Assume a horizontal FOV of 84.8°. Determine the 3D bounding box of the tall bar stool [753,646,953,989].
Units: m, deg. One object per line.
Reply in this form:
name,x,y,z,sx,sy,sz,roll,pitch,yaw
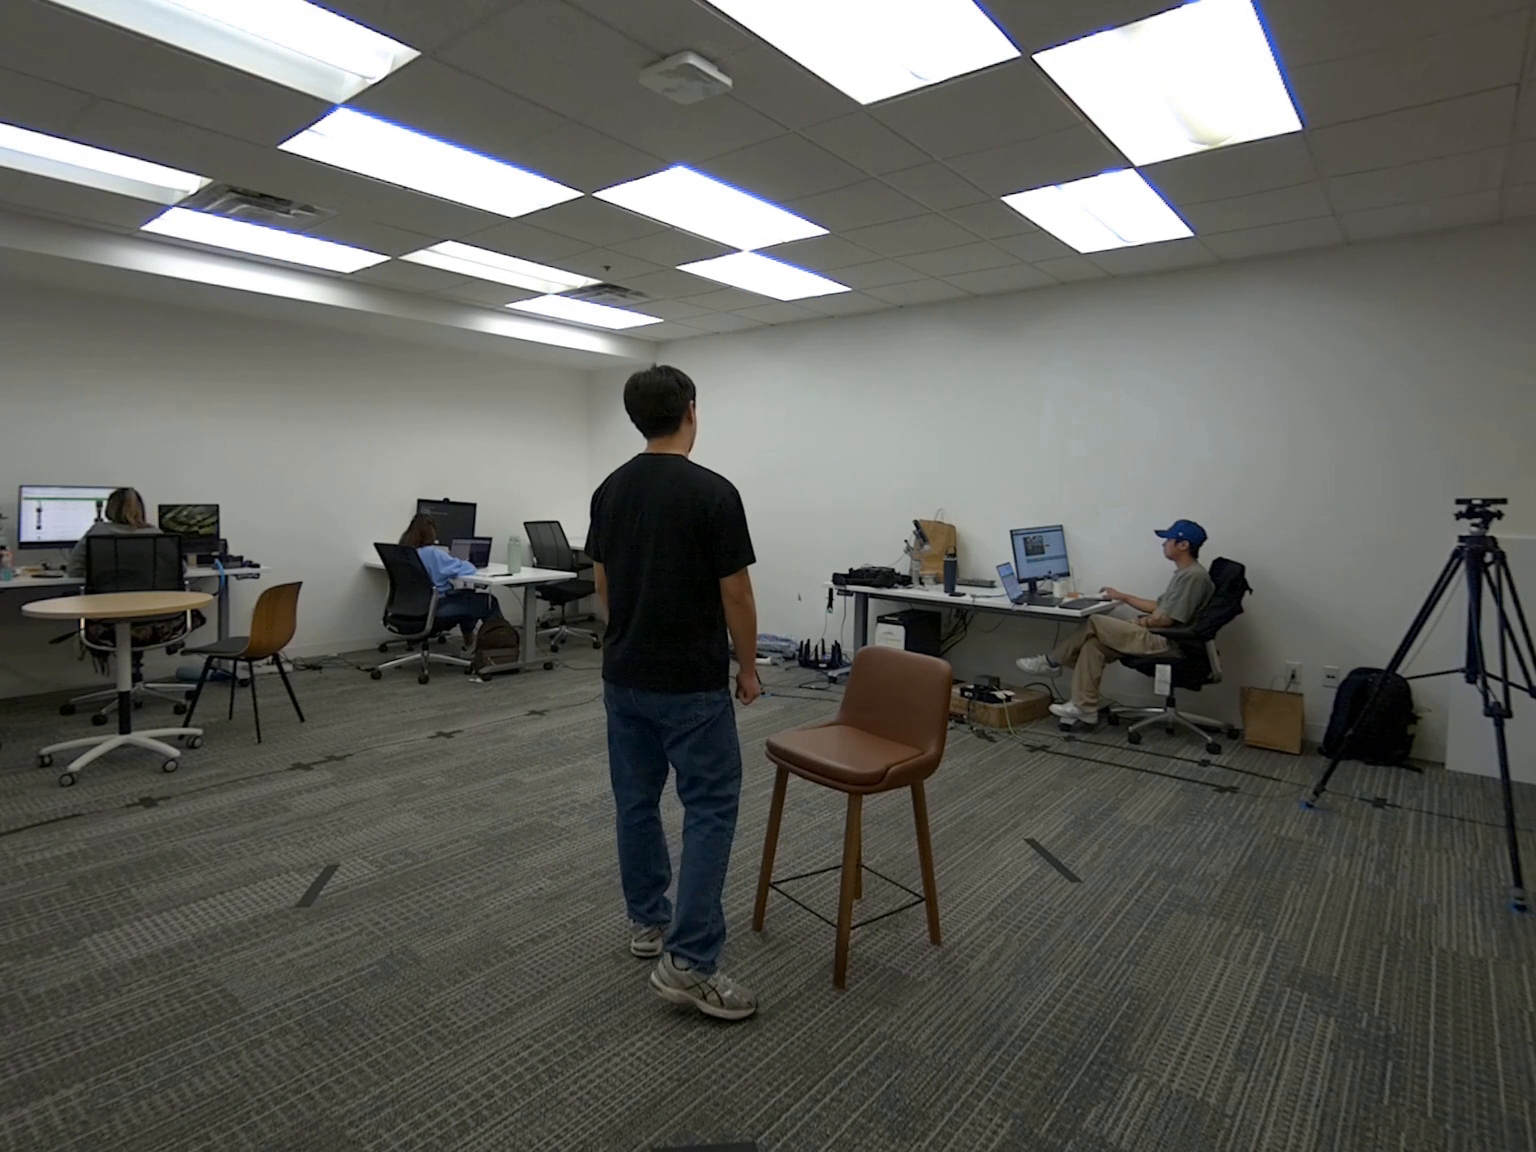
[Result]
tall bar stool,0.253,0.690,2.642,0.453,0.888,0.471,1,3,-36
